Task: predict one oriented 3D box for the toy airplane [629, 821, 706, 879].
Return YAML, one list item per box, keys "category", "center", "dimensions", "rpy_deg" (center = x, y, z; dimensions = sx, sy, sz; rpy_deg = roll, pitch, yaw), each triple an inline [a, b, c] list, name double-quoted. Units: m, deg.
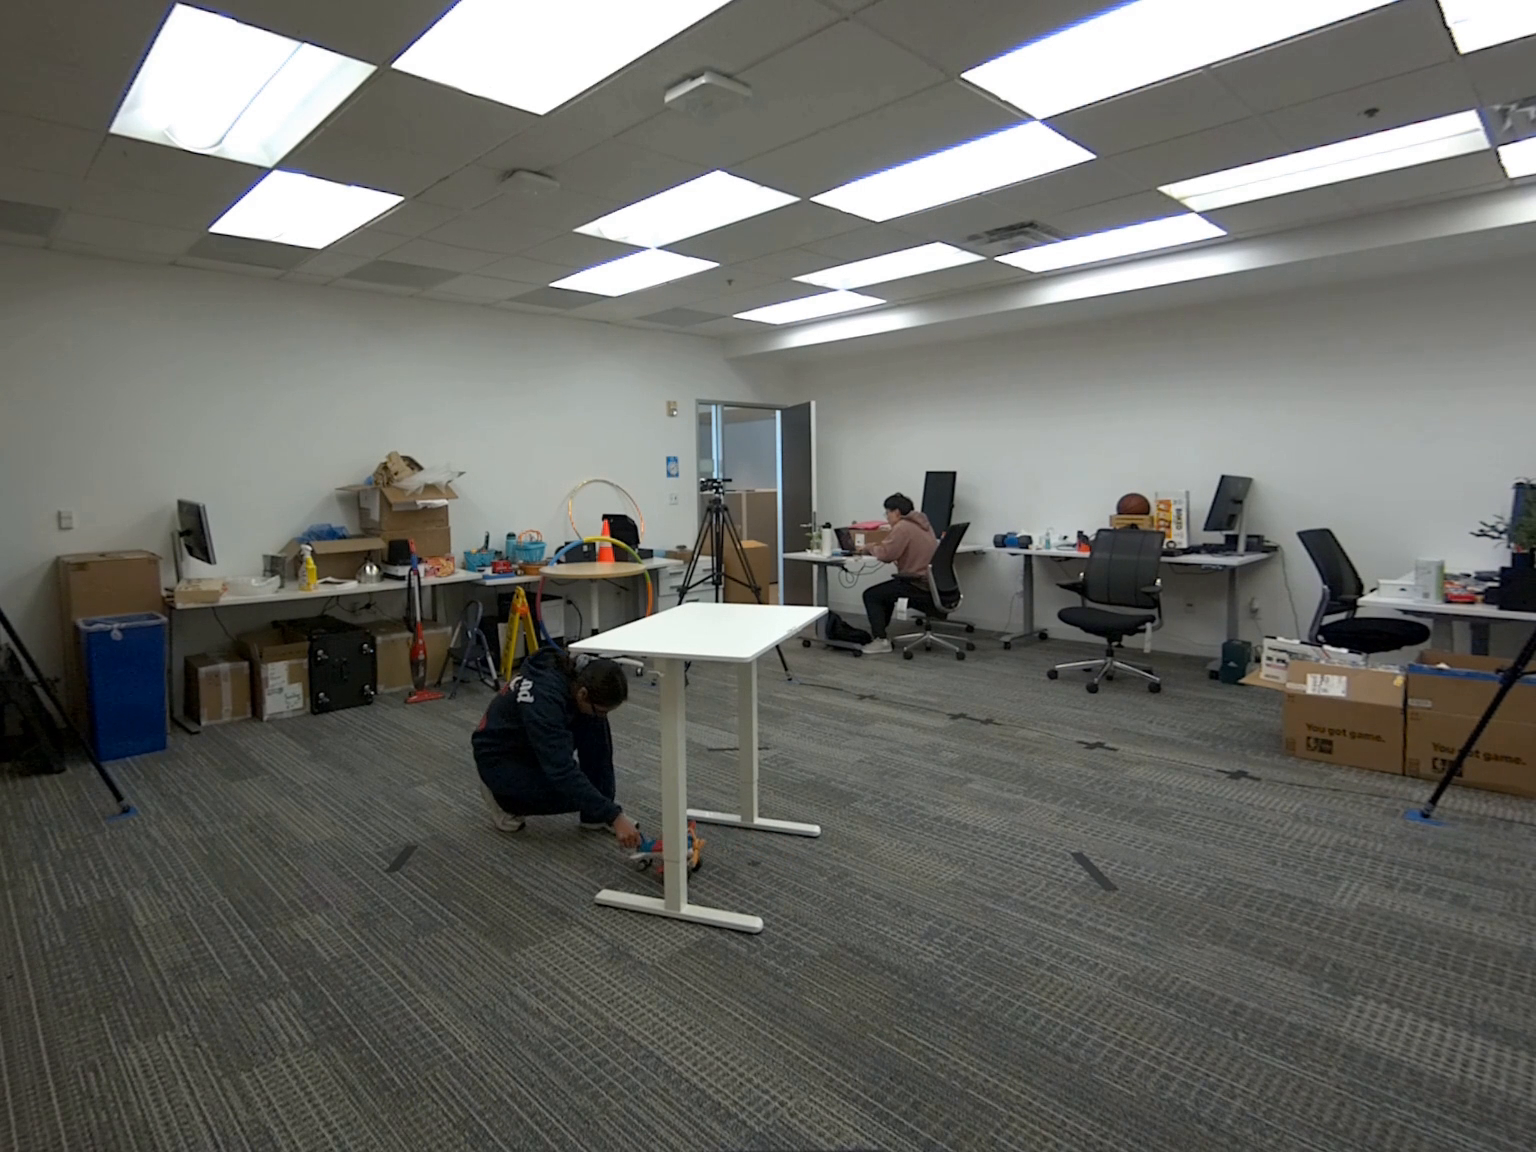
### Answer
- category: "toy airplane"
  center: [-0.364, 0.984, 3.020]
  dimensions: [0.257, 0.156, 0.254]
  rpy_deg: [1, 4, -8]
